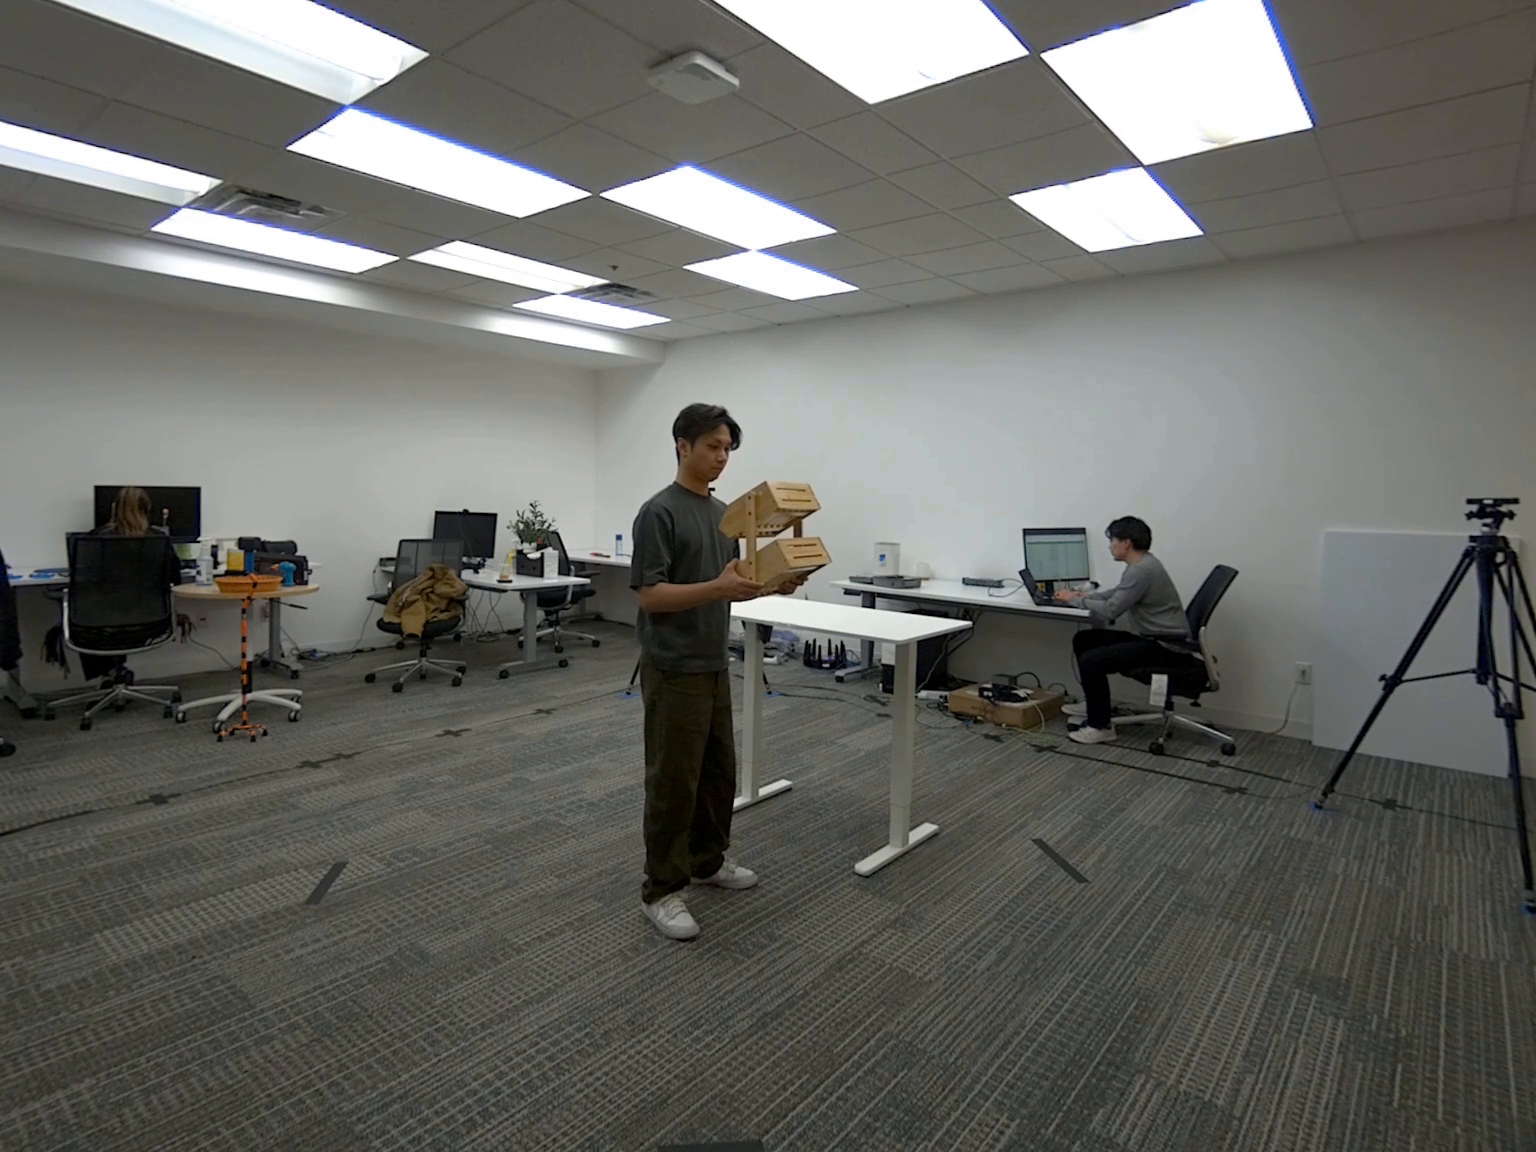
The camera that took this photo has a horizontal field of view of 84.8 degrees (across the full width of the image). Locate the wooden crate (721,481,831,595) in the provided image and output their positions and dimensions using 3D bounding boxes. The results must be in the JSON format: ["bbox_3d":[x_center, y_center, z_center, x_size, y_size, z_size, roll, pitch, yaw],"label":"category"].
[{"bbox_3d":[-0.015,-0.111,2.655,0.305,0.278,0.316,-31,-13,27],"label":"wooden crate"}]
